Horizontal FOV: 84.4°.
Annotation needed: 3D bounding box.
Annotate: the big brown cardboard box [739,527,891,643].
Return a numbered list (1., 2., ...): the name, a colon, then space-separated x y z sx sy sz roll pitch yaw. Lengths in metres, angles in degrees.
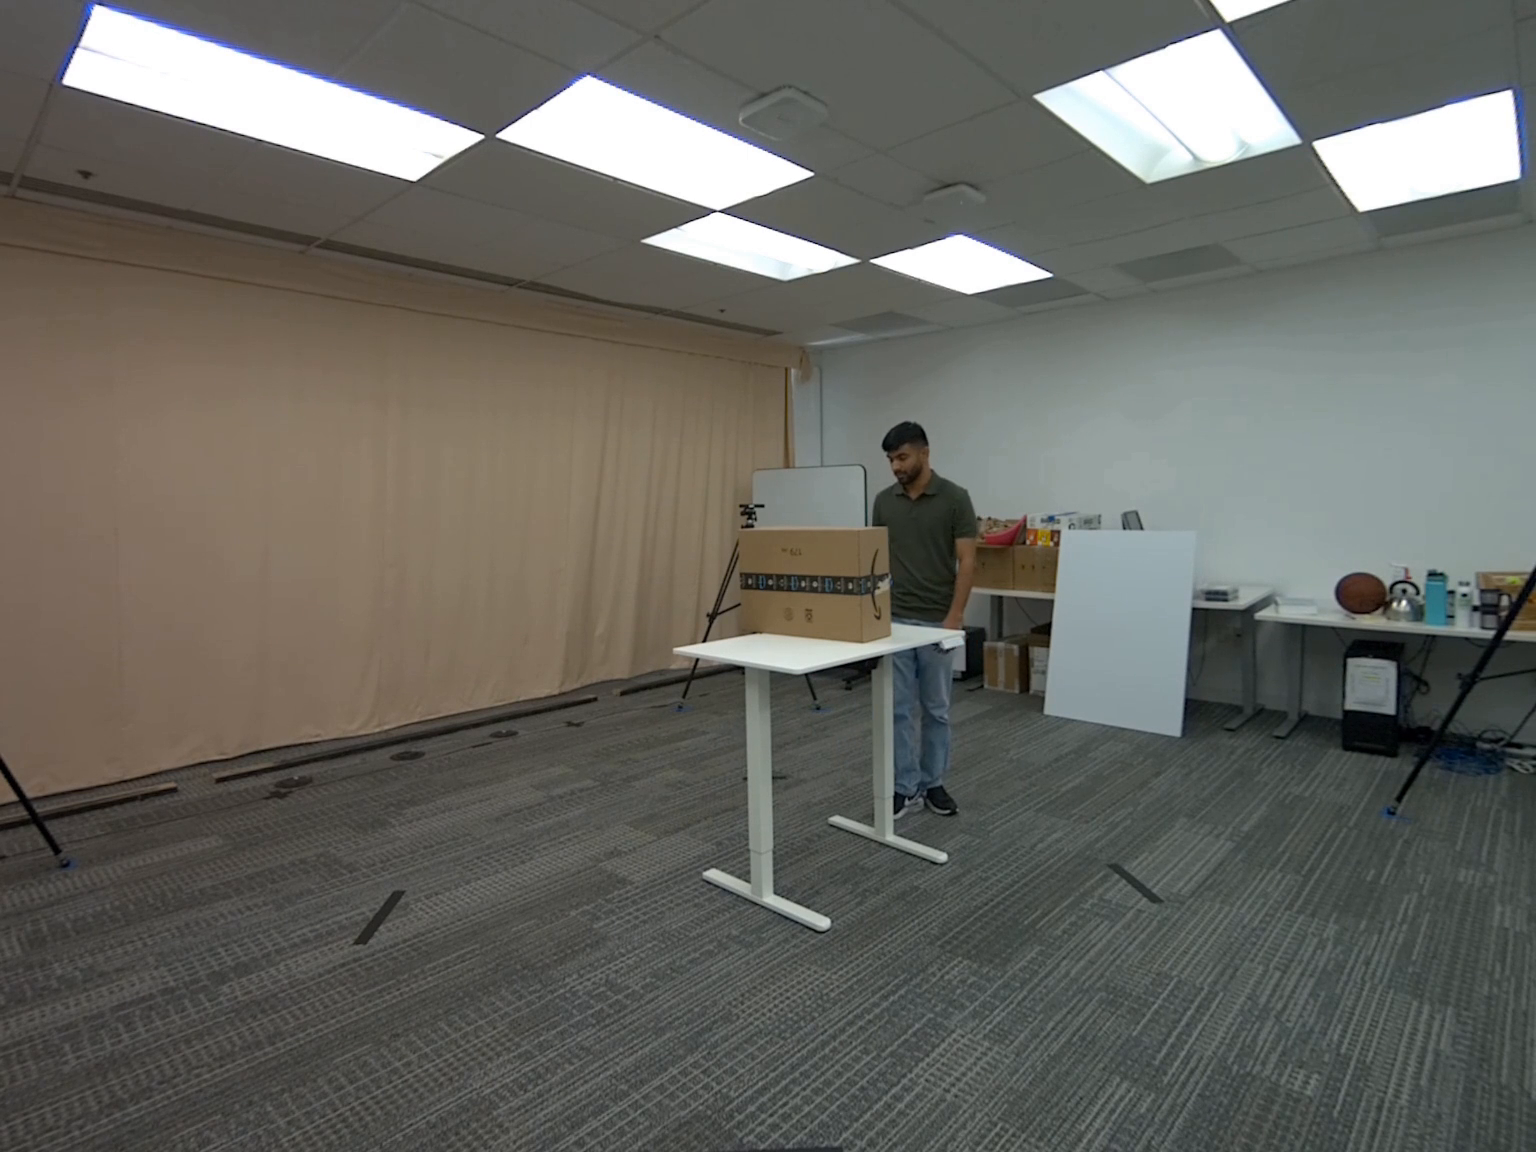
1. big brown cardboard box: 0.175 0.022 3.308 0.608 0.416 0.226 3 6 40
